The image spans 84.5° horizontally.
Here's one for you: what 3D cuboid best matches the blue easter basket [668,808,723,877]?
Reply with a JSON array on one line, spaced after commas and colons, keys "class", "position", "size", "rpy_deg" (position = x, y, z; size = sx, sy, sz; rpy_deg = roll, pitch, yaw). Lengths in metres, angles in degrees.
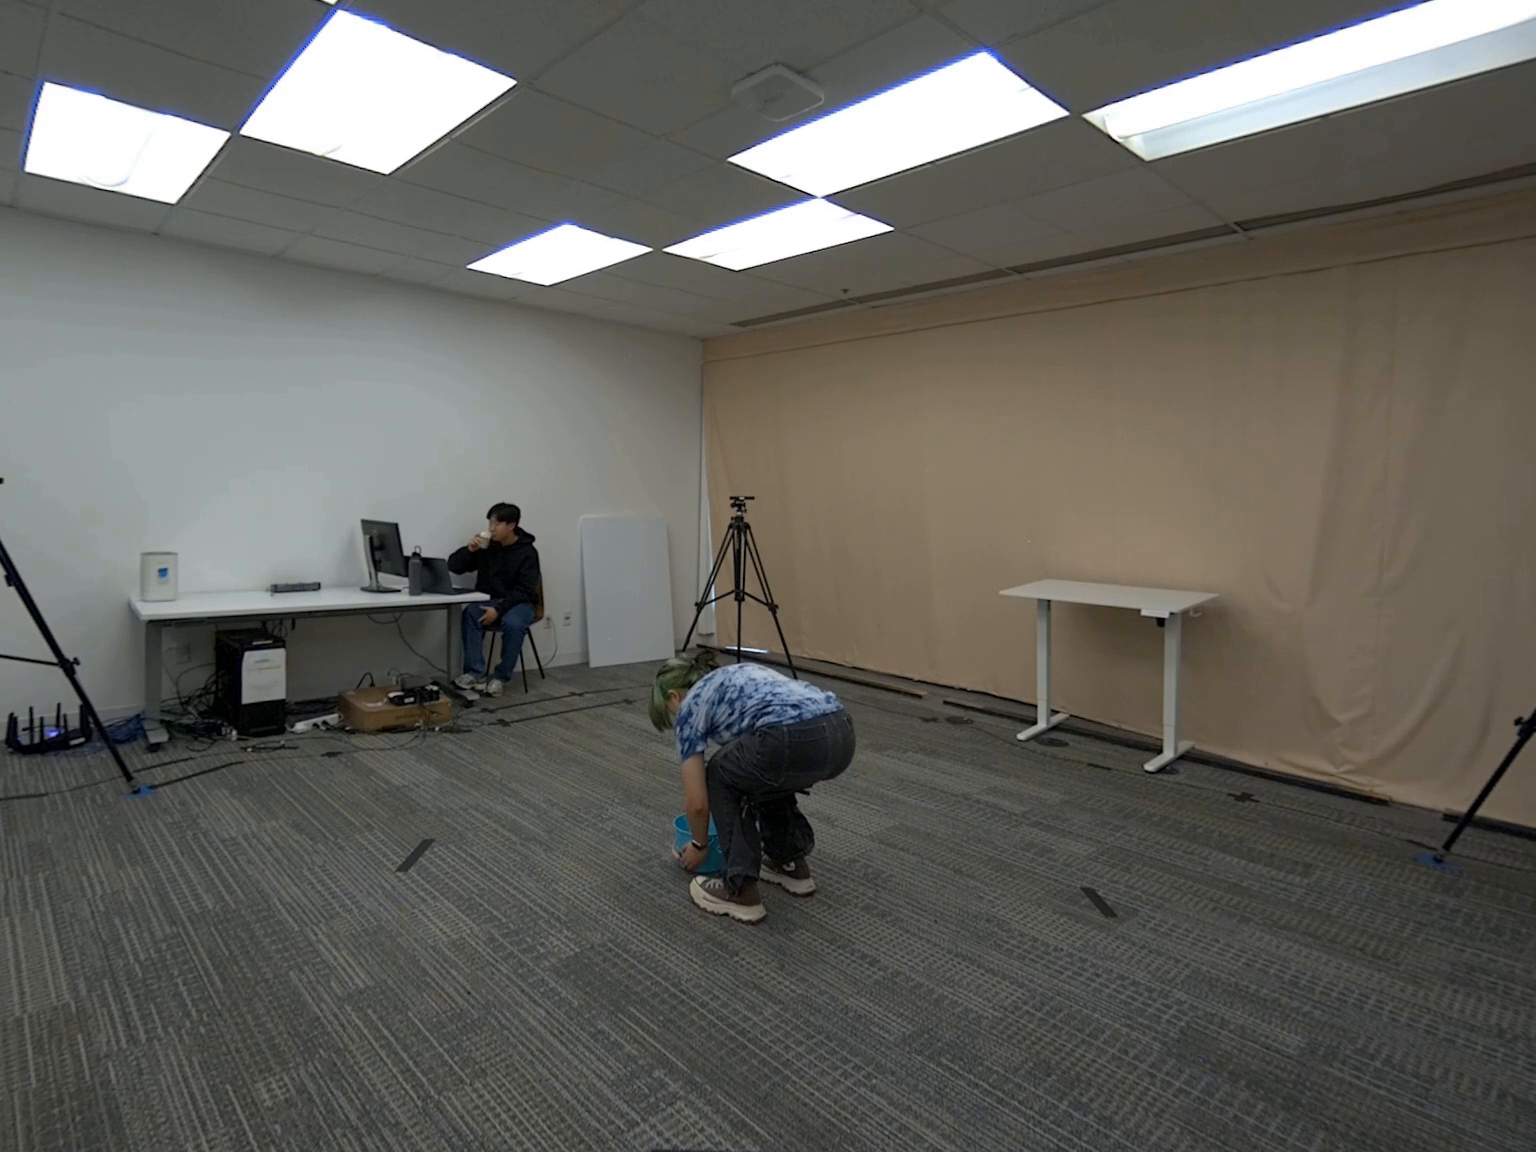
[{"class": "blue easter basket", "position": [-0.243, 1.000, 3.182], "size": [0.243, 0.155, 0.244], "rpy_deg": [2, 5, -2]}]
